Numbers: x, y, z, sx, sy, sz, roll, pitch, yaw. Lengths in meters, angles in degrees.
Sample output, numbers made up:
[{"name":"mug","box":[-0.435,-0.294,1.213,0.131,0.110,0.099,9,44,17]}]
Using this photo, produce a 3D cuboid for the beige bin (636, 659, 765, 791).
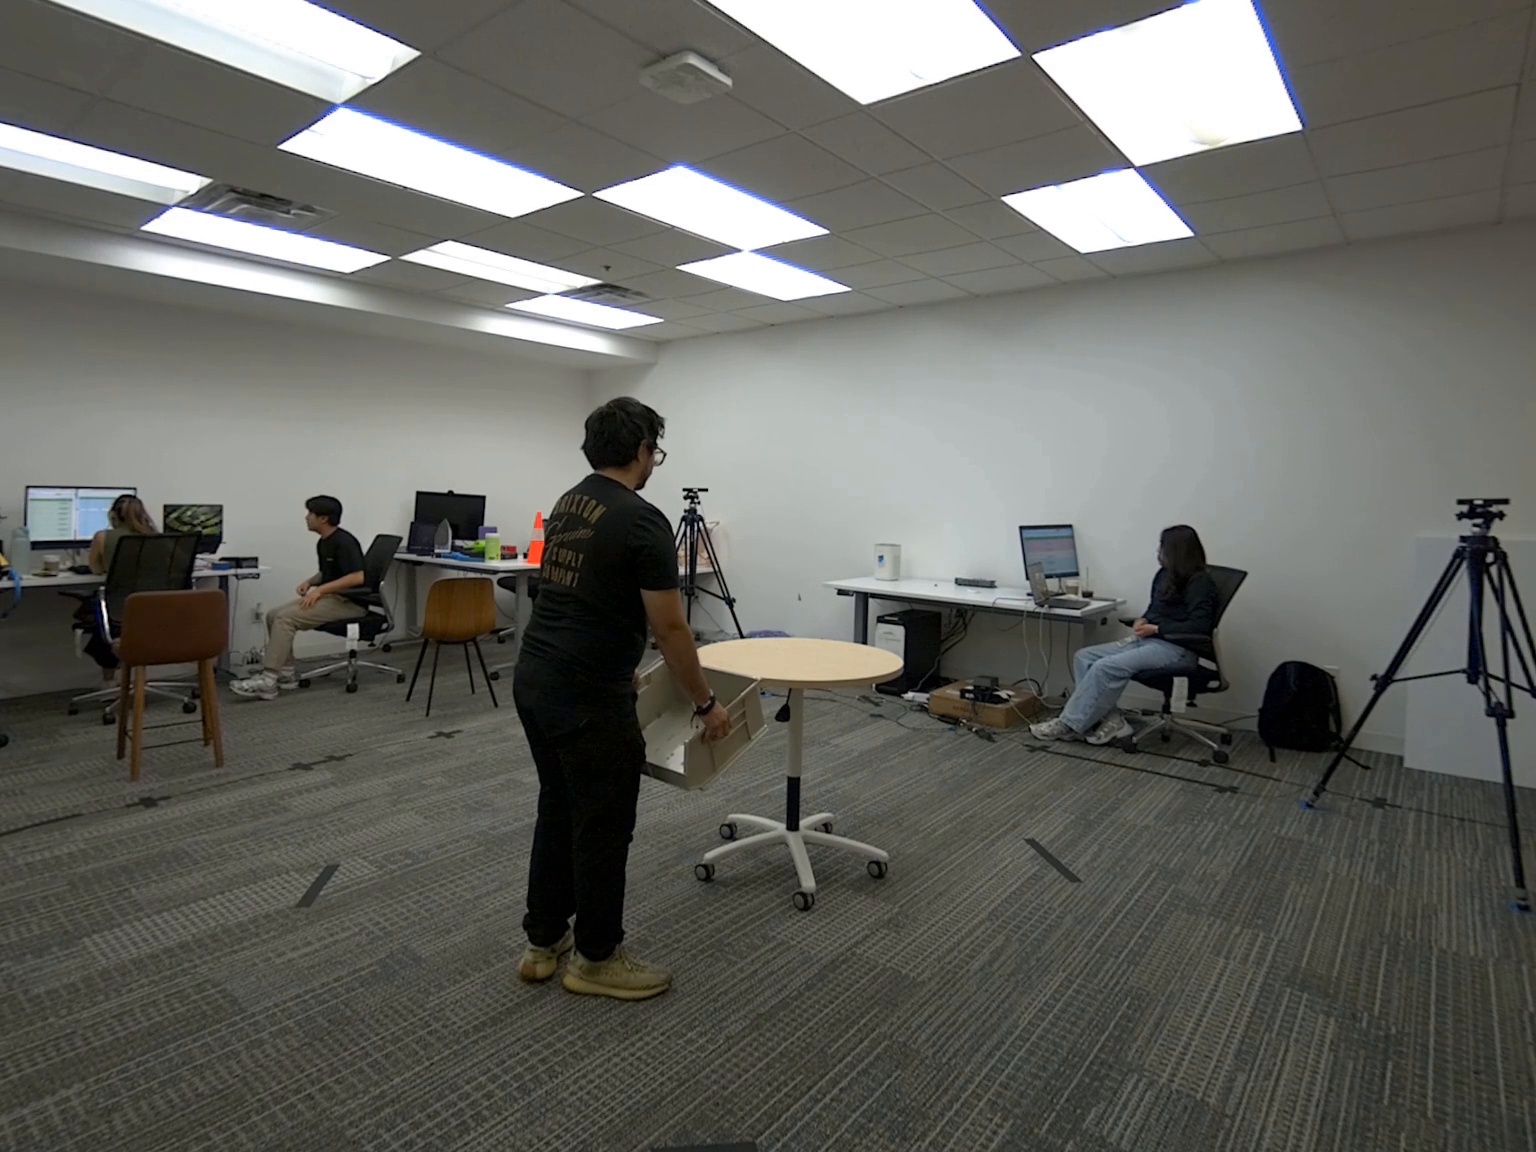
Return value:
[{"name":"beige bin","box":[-0.286,0.444,2.585,0.437,0.185,0.373,7,28,40]}]
